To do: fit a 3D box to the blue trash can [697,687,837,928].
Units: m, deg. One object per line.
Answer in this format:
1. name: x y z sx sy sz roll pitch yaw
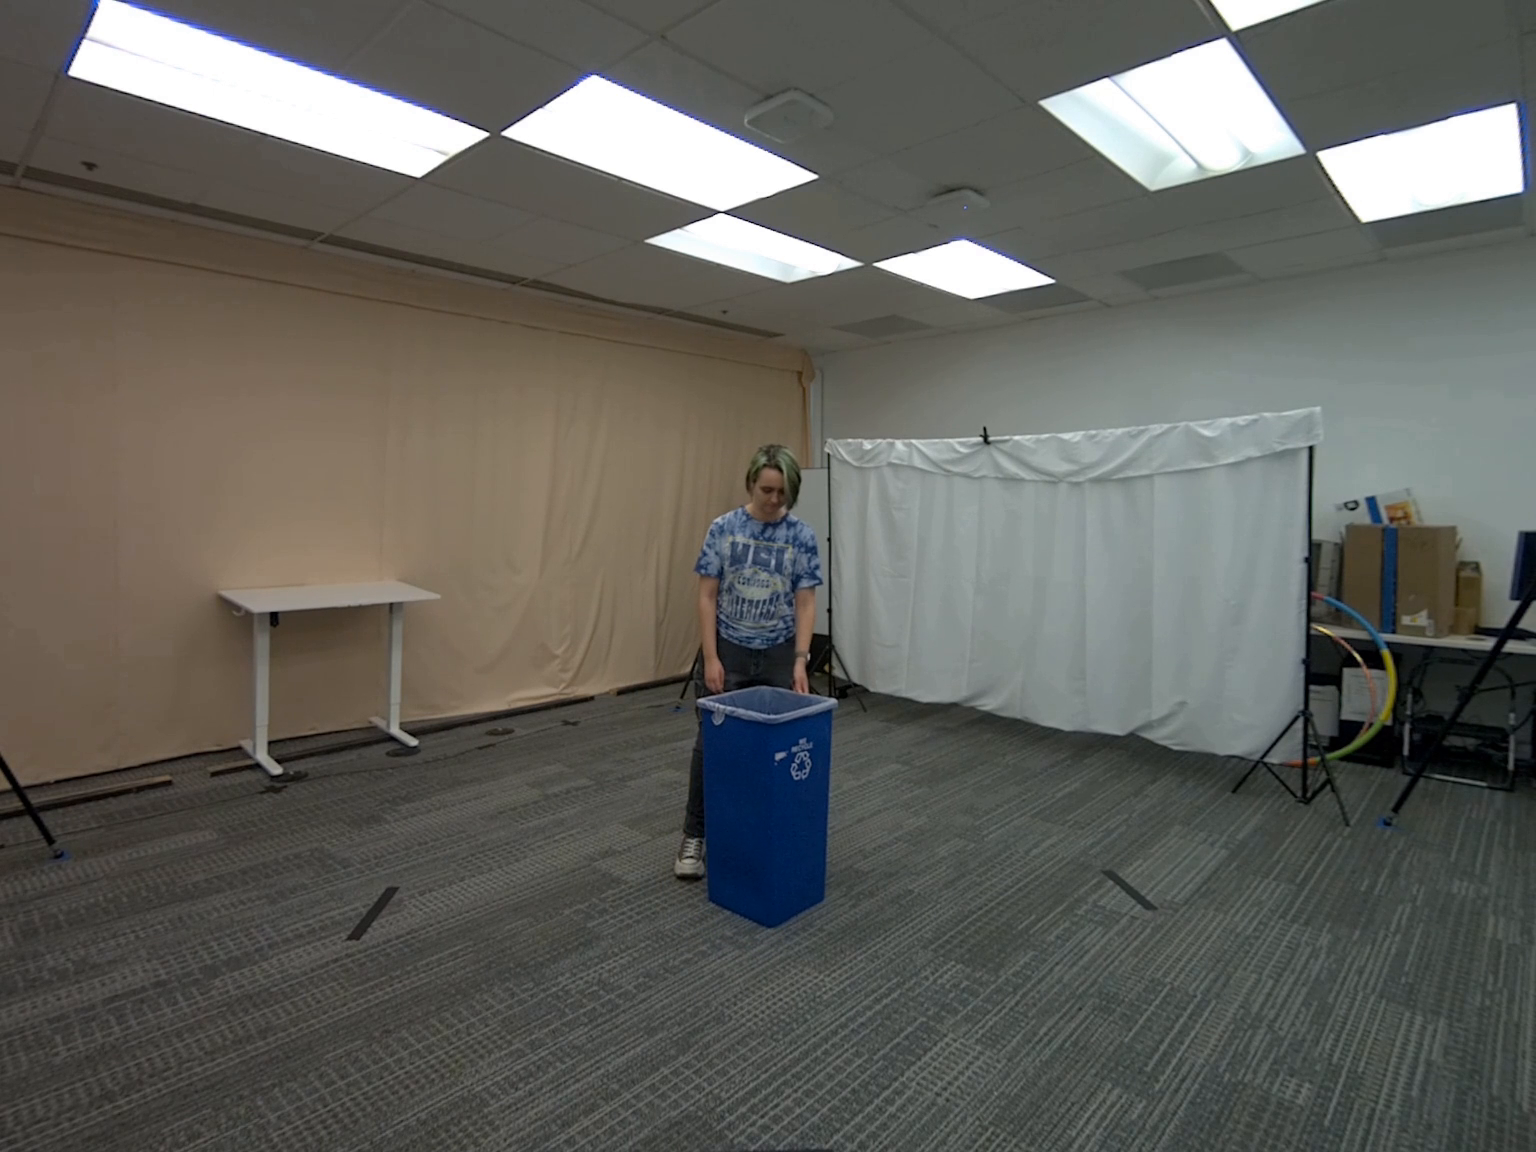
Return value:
1. blue trash can: 0.004 0.787 2.962 0.391 0.712 0.362 4 5 43
